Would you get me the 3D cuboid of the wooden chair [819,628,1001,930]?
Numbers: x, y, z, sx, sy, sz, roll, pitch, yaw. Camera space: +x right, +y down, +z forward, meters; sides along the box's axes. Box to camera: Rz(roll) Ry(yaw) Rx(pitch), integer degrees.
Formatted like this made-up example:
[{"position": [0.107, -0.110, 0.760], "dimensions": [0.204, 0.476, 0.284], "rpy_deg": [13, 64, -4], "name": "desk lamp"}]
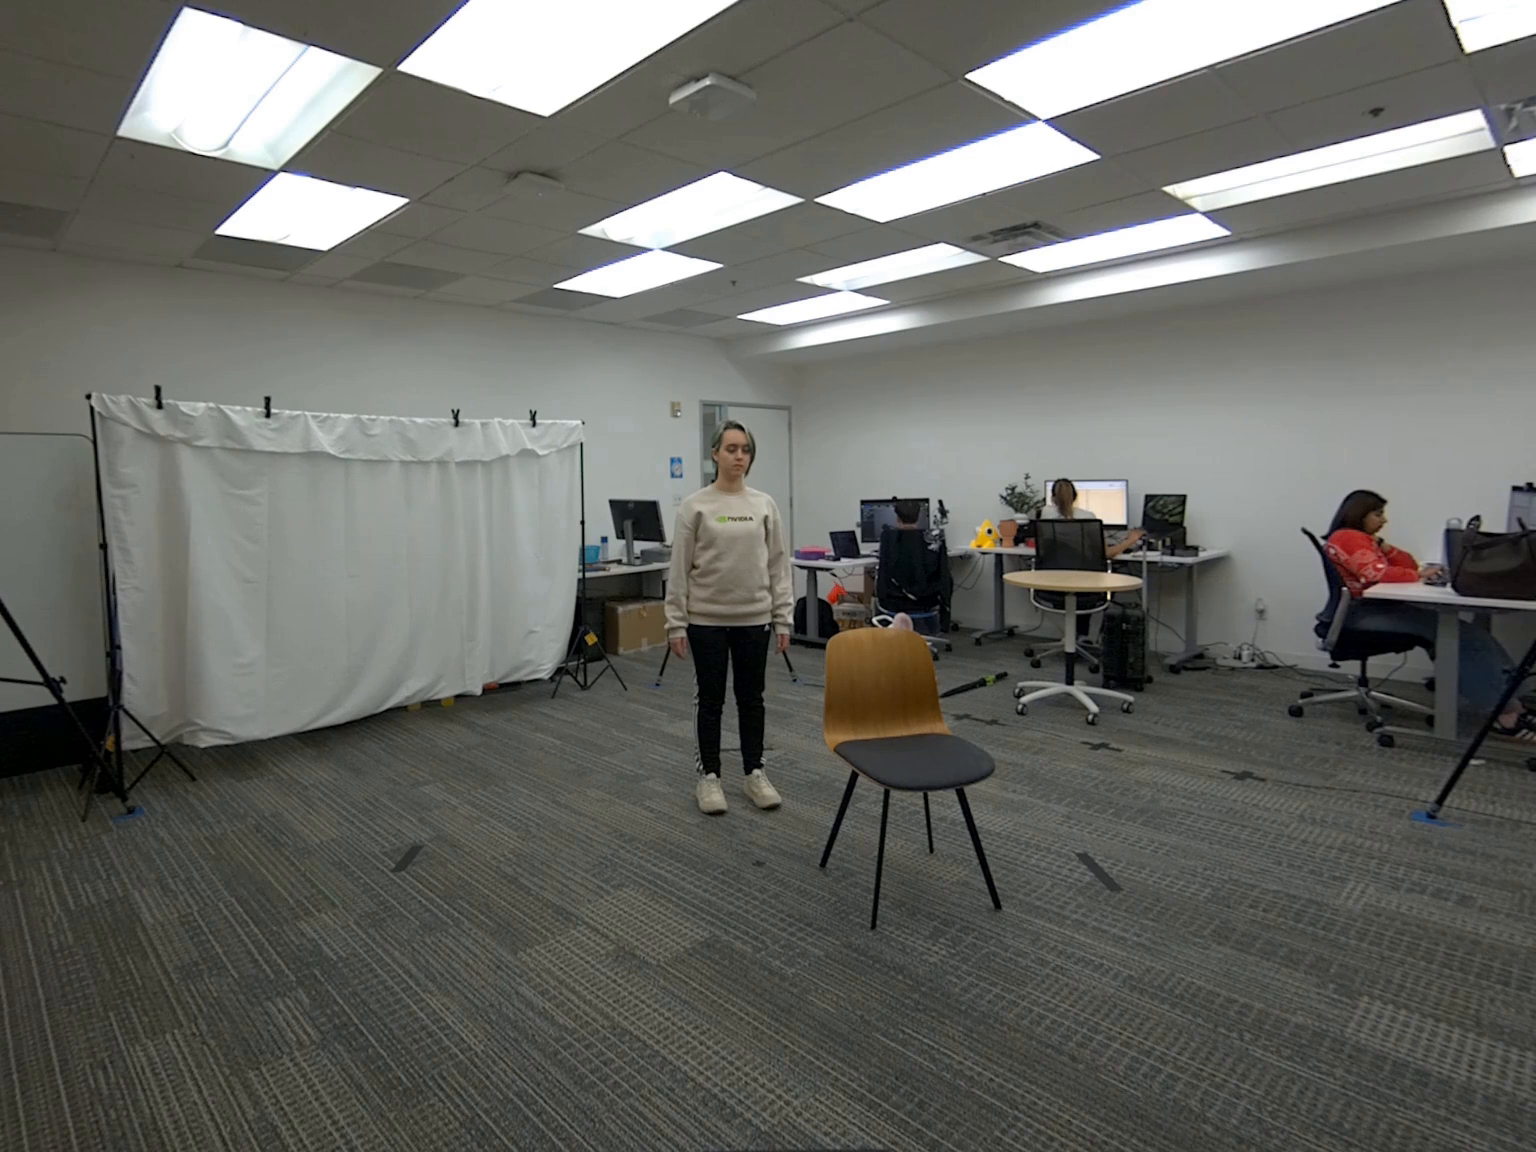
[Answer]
[{"position": [0.460, 0.639, 2.870], "dimensions": [0.471, 0.877, 0.531], "rpy_deg": [-2, 0, -17], "name": "wooden chair"}]
